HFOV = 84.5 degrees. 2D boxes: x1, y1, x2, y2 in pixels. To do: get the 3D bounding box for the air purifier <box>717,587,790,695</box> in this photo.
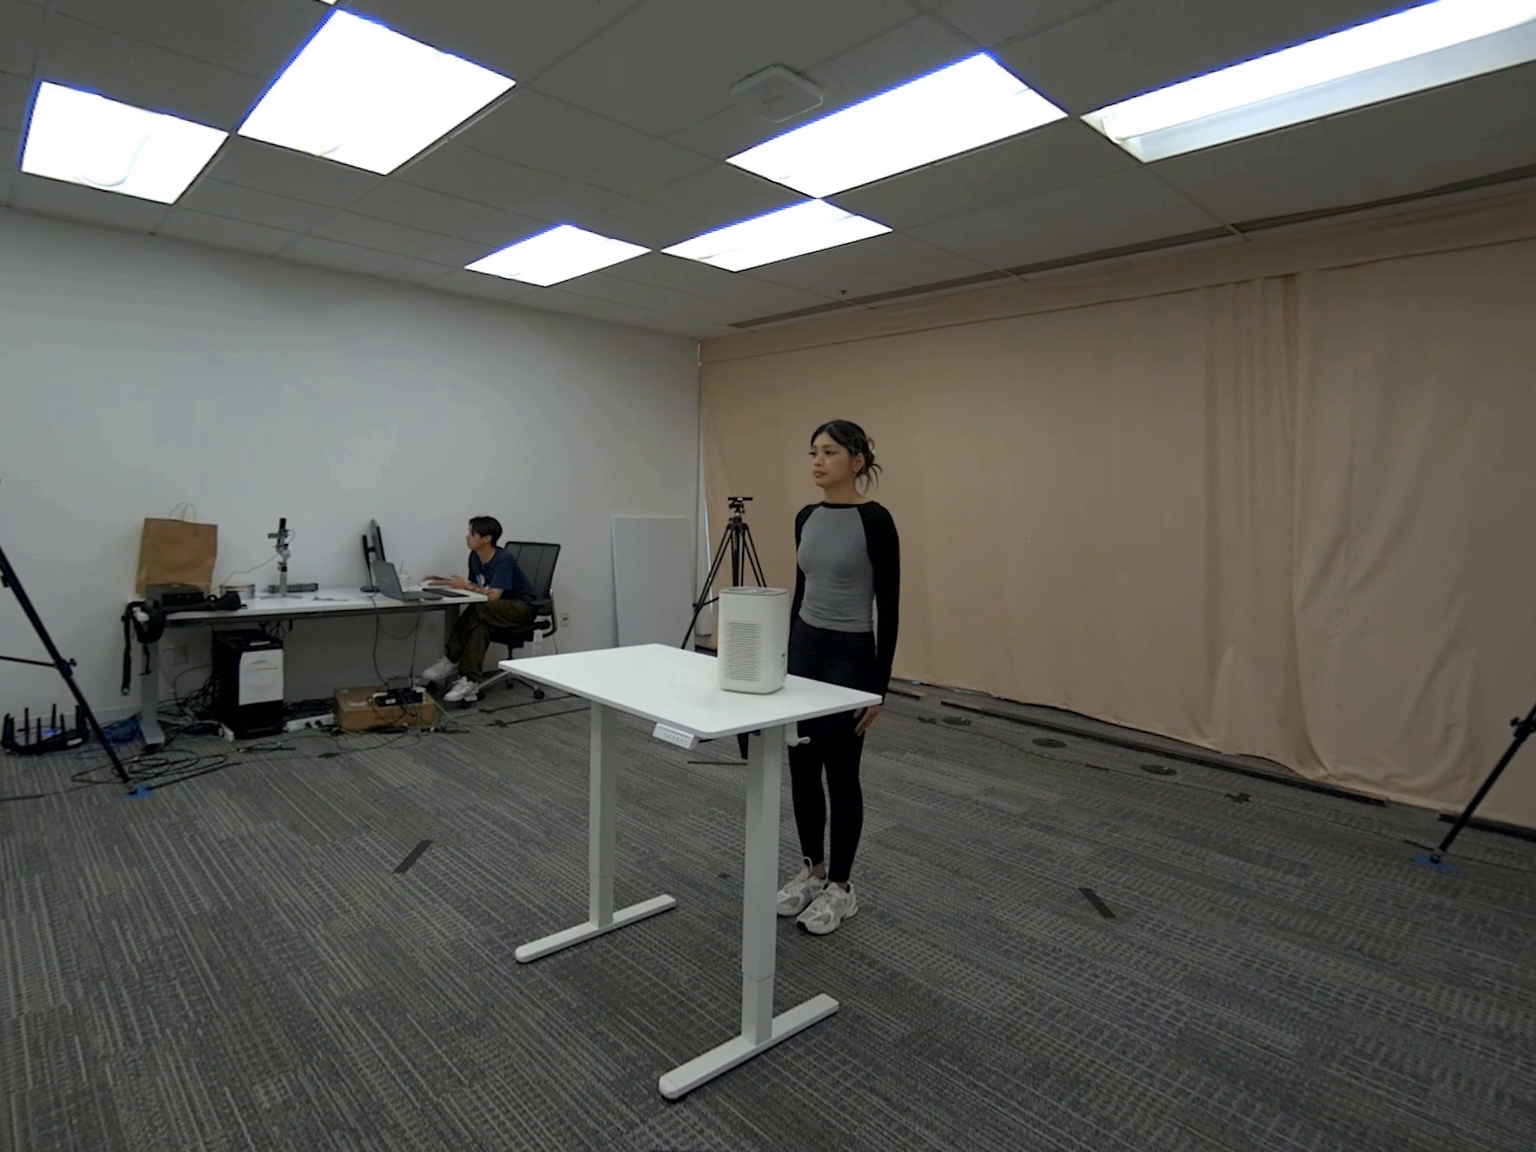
[{"bbox_3d":[-0.045,0.171,2.261,0.174,0.265,0.169,2,3,16],"label":"air purifier"}]
